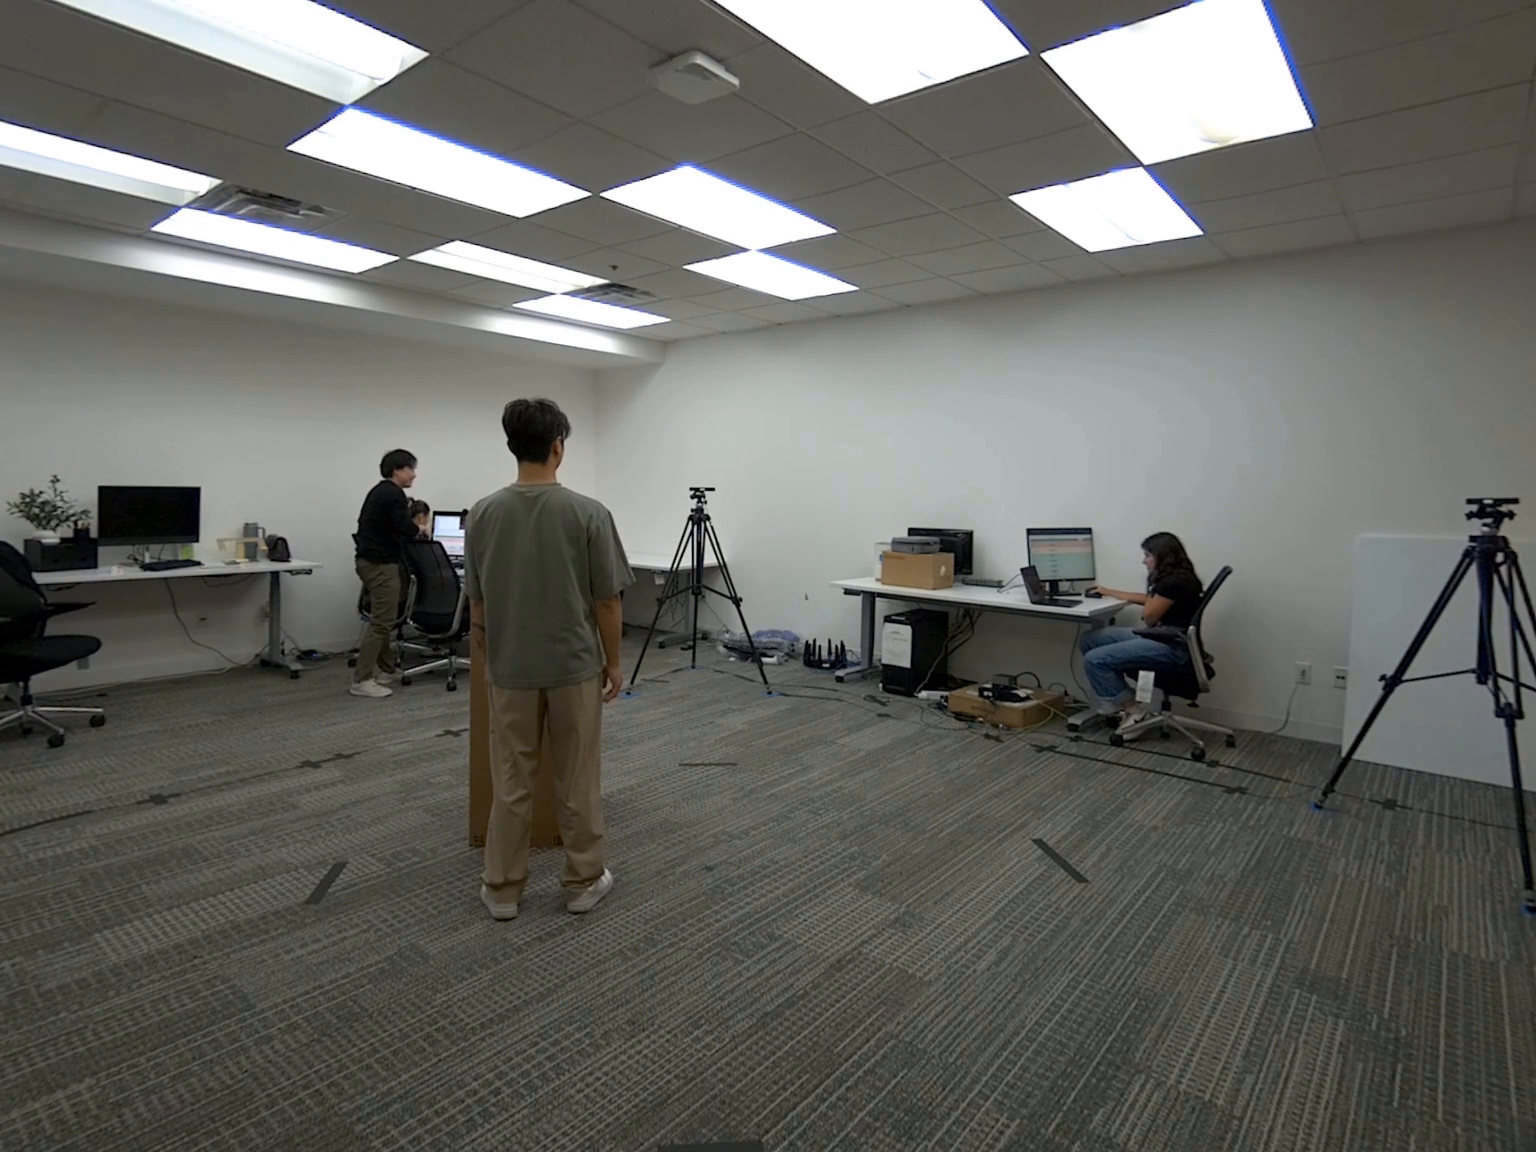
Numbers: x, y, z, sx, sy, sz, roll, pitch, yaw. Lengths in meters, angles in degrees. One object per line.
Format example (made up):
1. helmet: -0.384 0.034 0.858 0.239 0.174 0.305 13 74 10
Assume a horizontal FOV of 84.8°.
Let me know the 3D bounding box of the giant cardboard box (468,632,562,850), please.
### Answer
1. giant cardboard box: -0.955 0.501 3.521 0.426 1.023 0.579 2 3 -1
